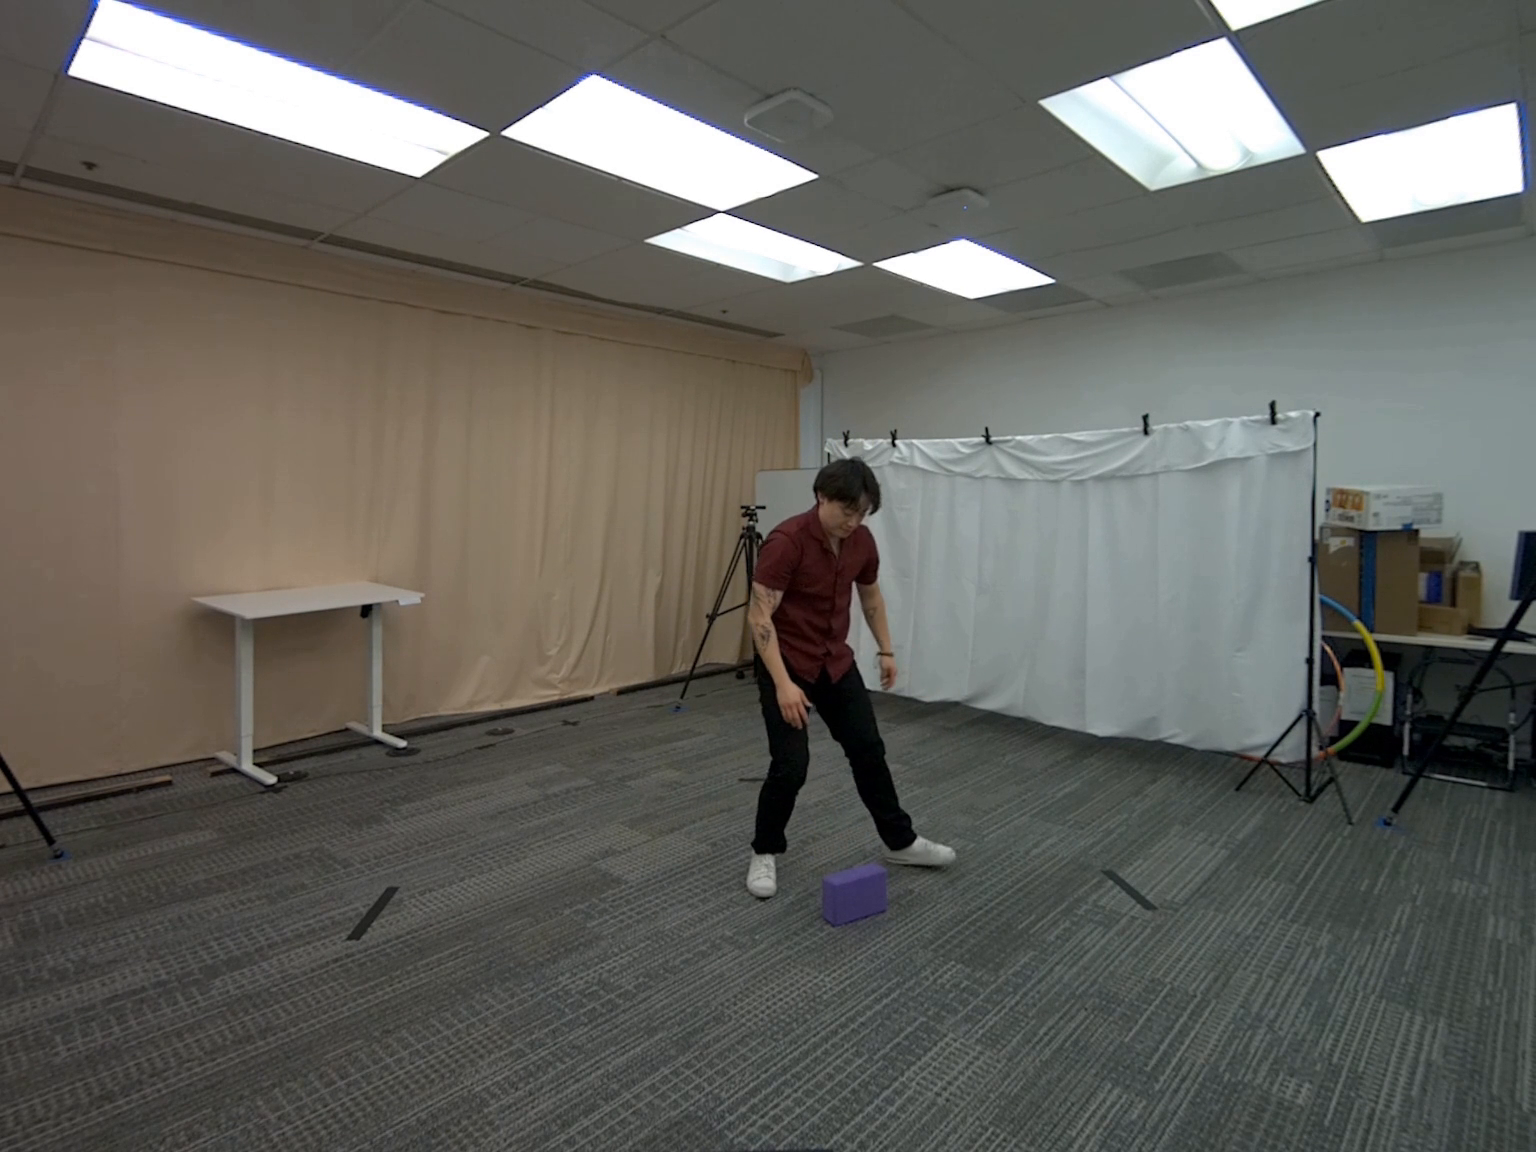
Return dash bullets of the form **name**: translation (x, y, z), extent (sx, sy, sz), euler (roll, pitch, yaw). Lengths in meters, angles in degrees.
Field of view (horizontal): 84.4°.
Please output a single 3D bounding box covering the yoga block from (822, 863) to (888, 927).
- **yoga block**: translation (0.299, 1.079, 2.856), extent (0.223, 0.149, 0.078), euler (-3, 4, -30)
